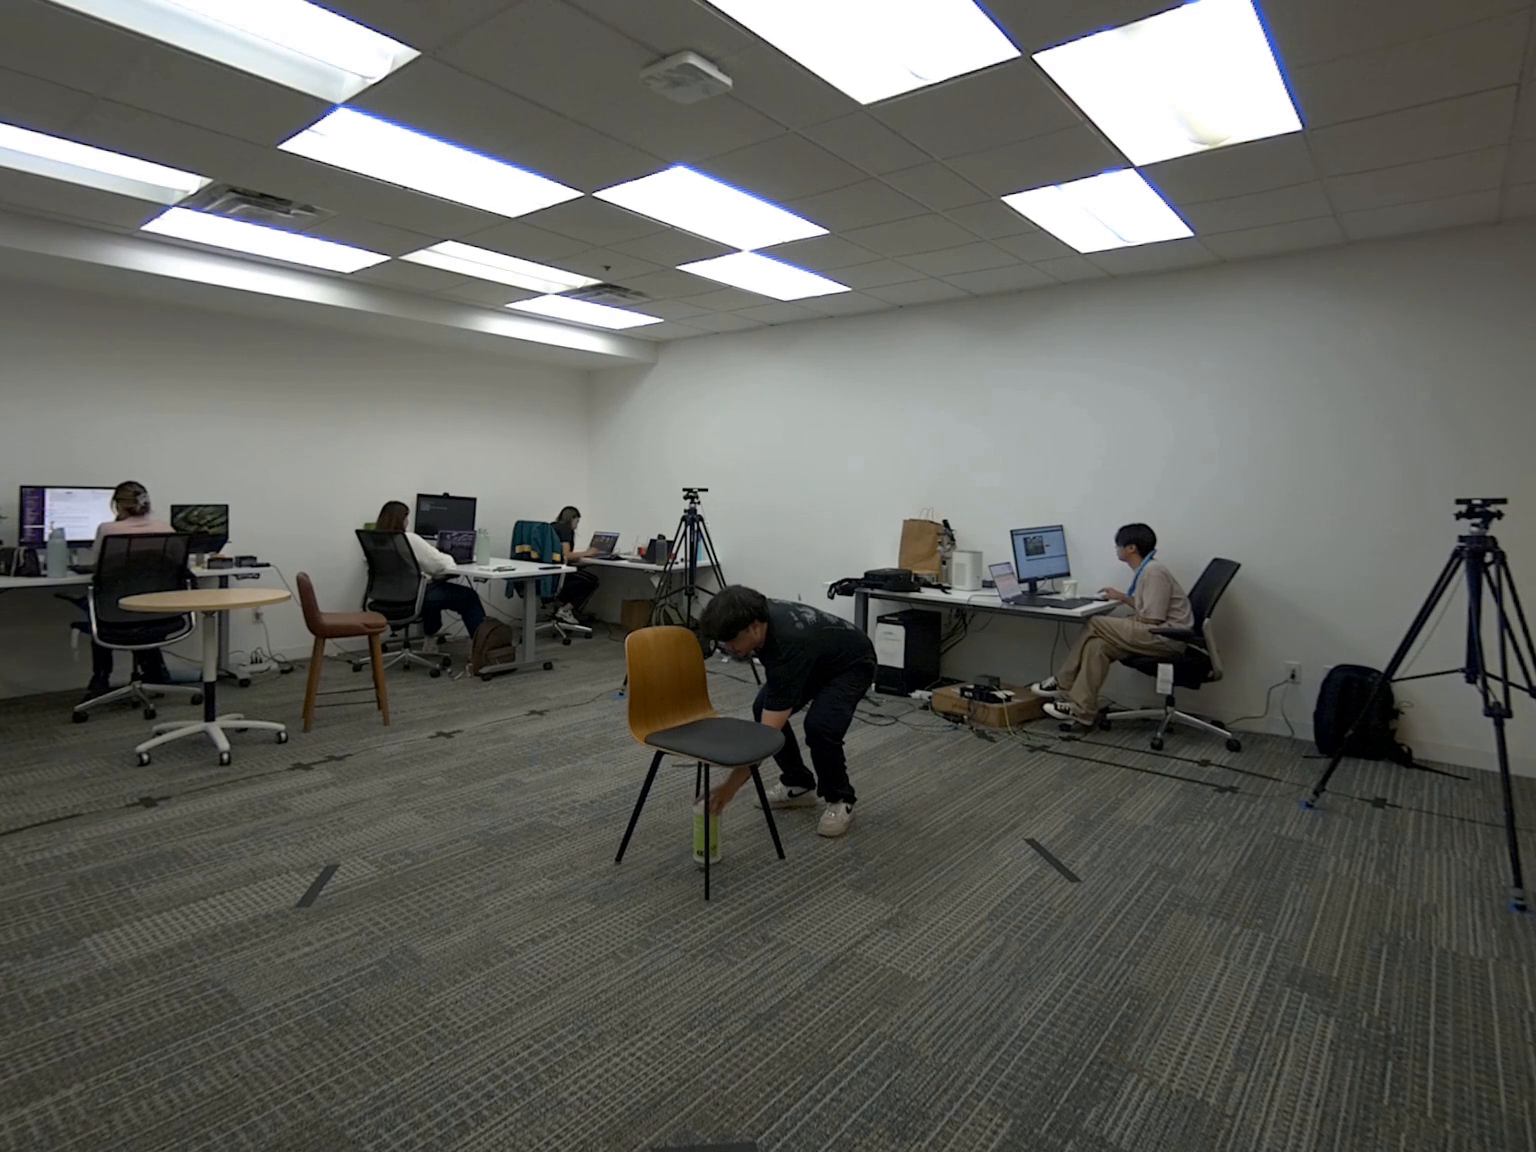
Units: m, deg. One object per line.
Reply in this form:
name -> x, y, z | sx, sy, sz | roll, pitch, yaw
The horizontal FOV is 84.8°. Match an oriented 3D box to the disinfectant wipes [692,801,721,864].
disinfectant wipes -> -0.242, 0.969, 3.210 | 0.118, 0.217, 0.118 | 0, 2, -2
